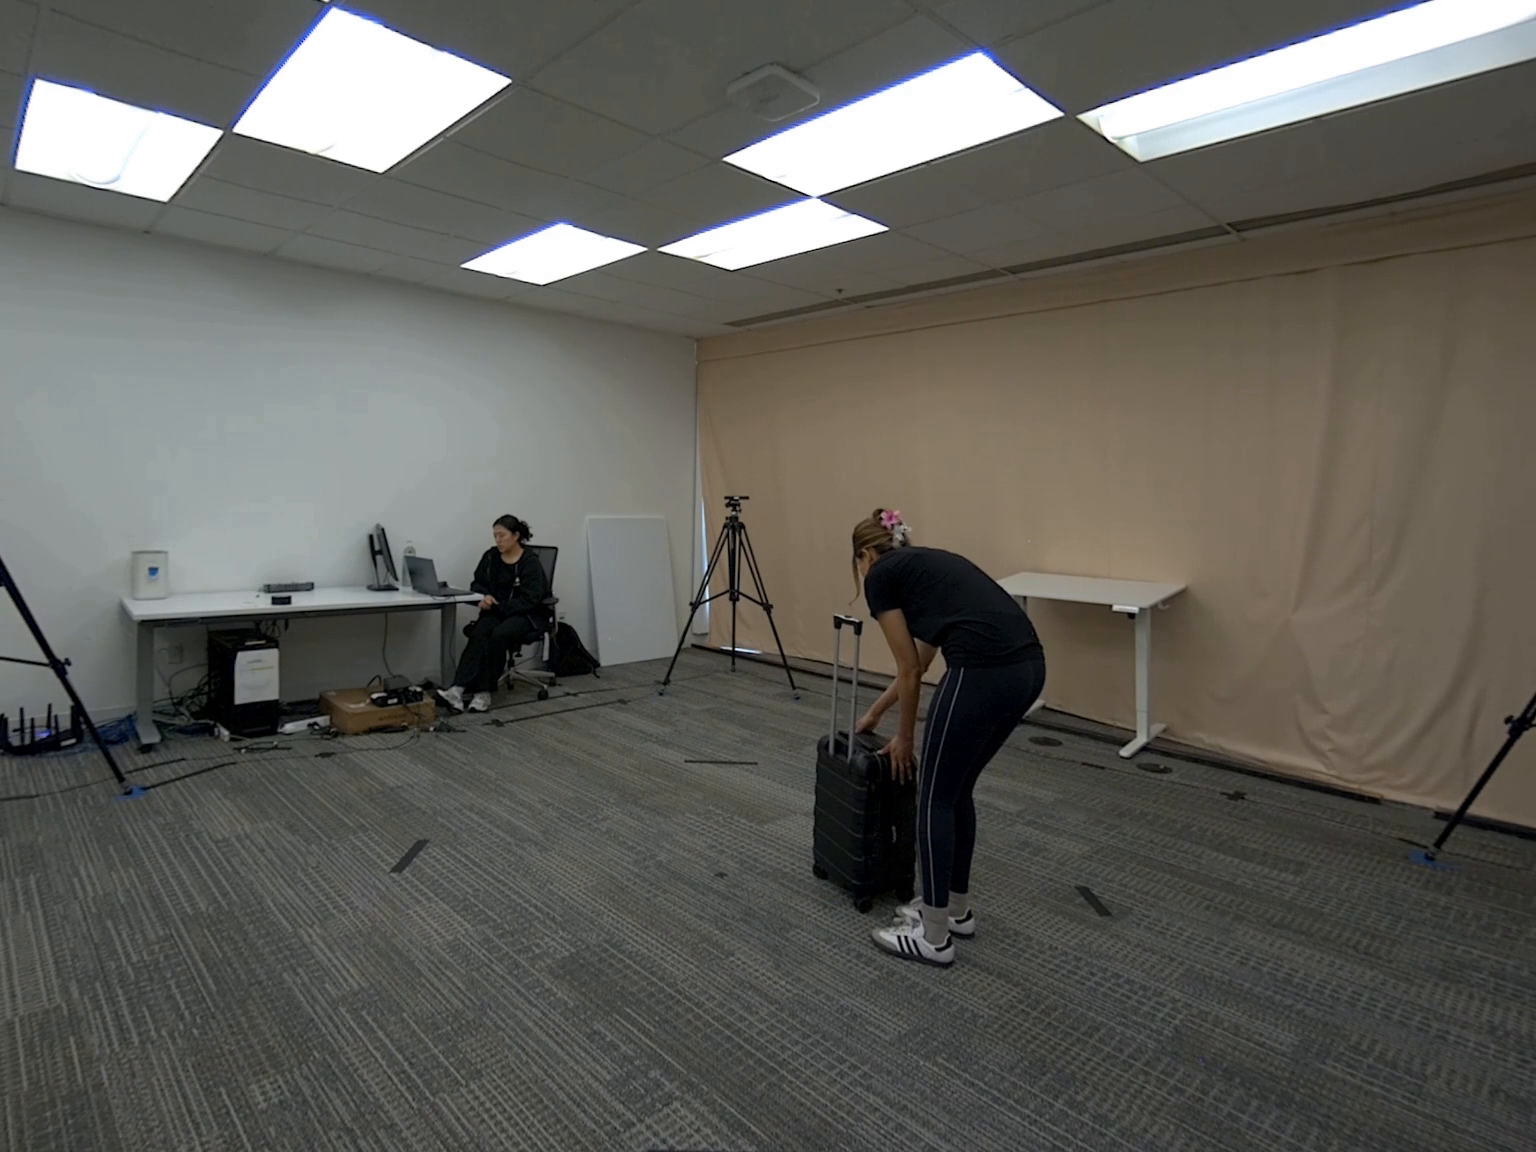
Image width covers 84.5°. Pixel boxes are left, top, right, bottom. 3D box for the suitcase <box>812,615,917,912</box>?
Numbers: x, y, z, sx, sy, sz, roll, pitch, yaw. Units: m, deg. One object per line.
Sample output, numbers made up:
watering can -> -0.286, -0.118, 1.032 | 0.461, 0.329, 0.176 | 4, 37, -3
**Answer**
suitcase -> 0.345, 0.649, 3.010 | 0.253, 0.977, 0.391 | 1, 3, -21
